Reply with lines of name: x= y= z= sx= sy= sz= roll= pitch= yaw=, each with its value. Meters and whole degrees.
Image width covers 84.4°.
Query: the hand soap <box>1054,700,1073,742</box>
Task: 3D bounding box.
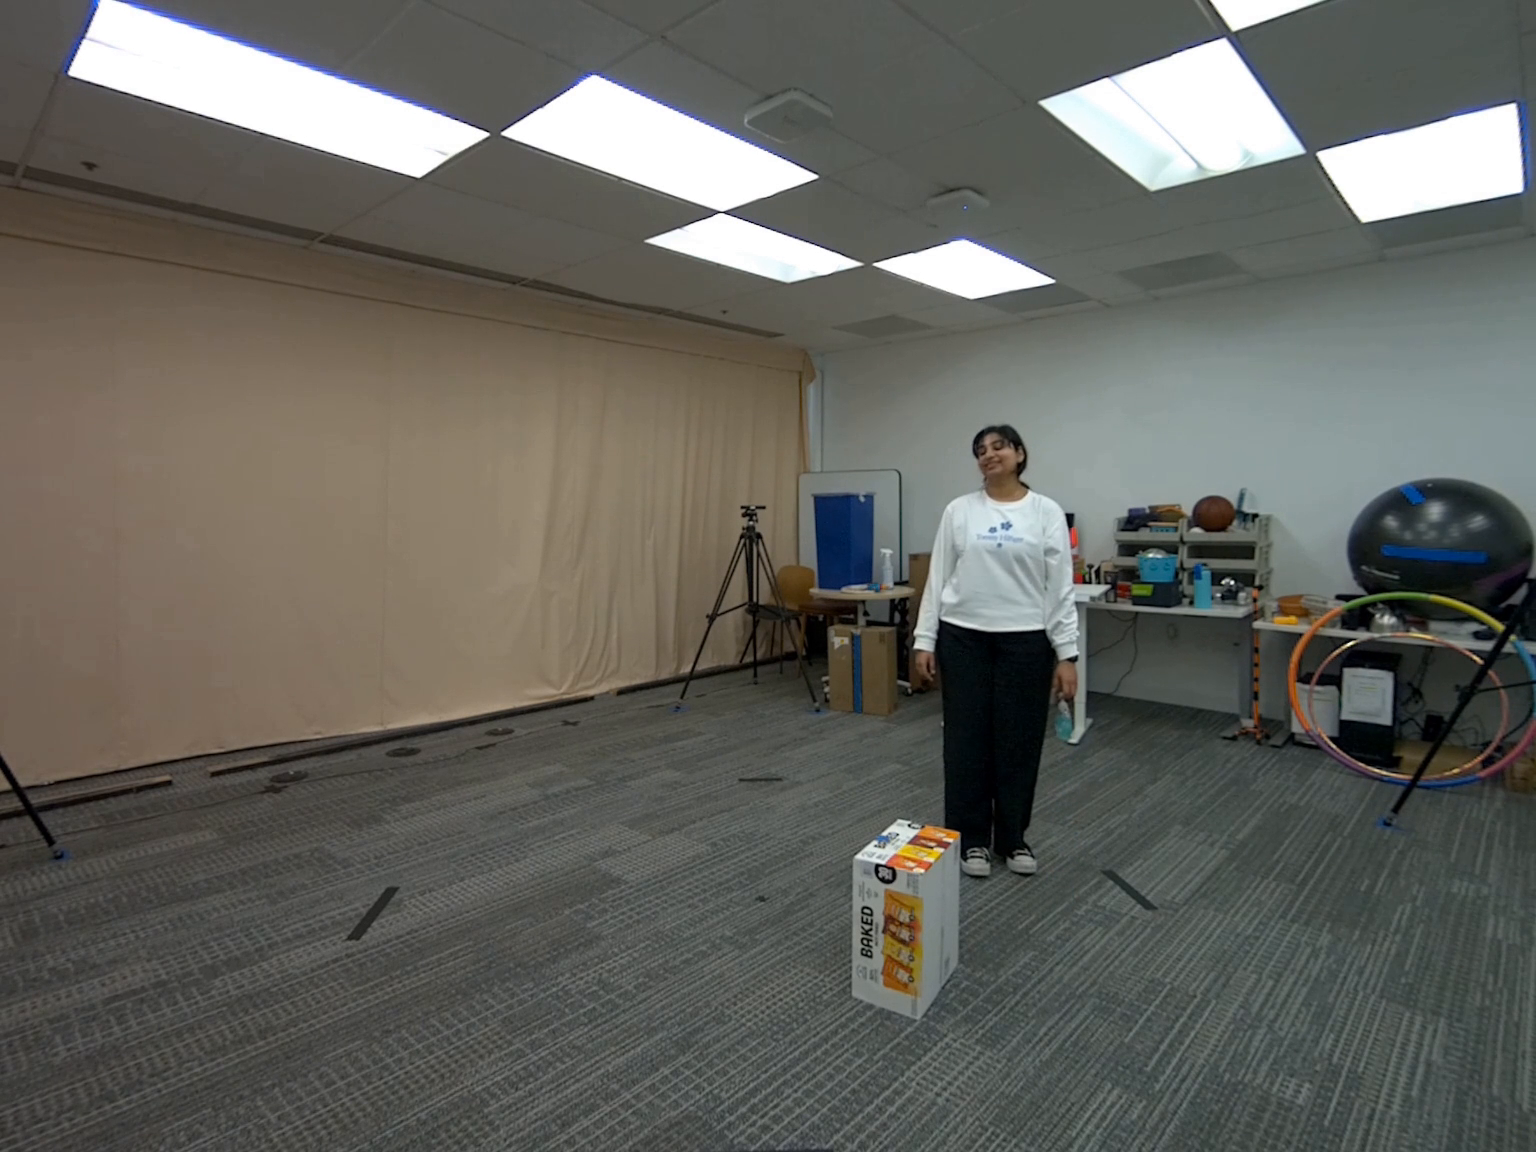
hand soap: x=1.086 y=0.512 z=3.098 sx=0.043 sy=0.167 sz=0.086 roll=-7 pitch=10 yaw=-9
